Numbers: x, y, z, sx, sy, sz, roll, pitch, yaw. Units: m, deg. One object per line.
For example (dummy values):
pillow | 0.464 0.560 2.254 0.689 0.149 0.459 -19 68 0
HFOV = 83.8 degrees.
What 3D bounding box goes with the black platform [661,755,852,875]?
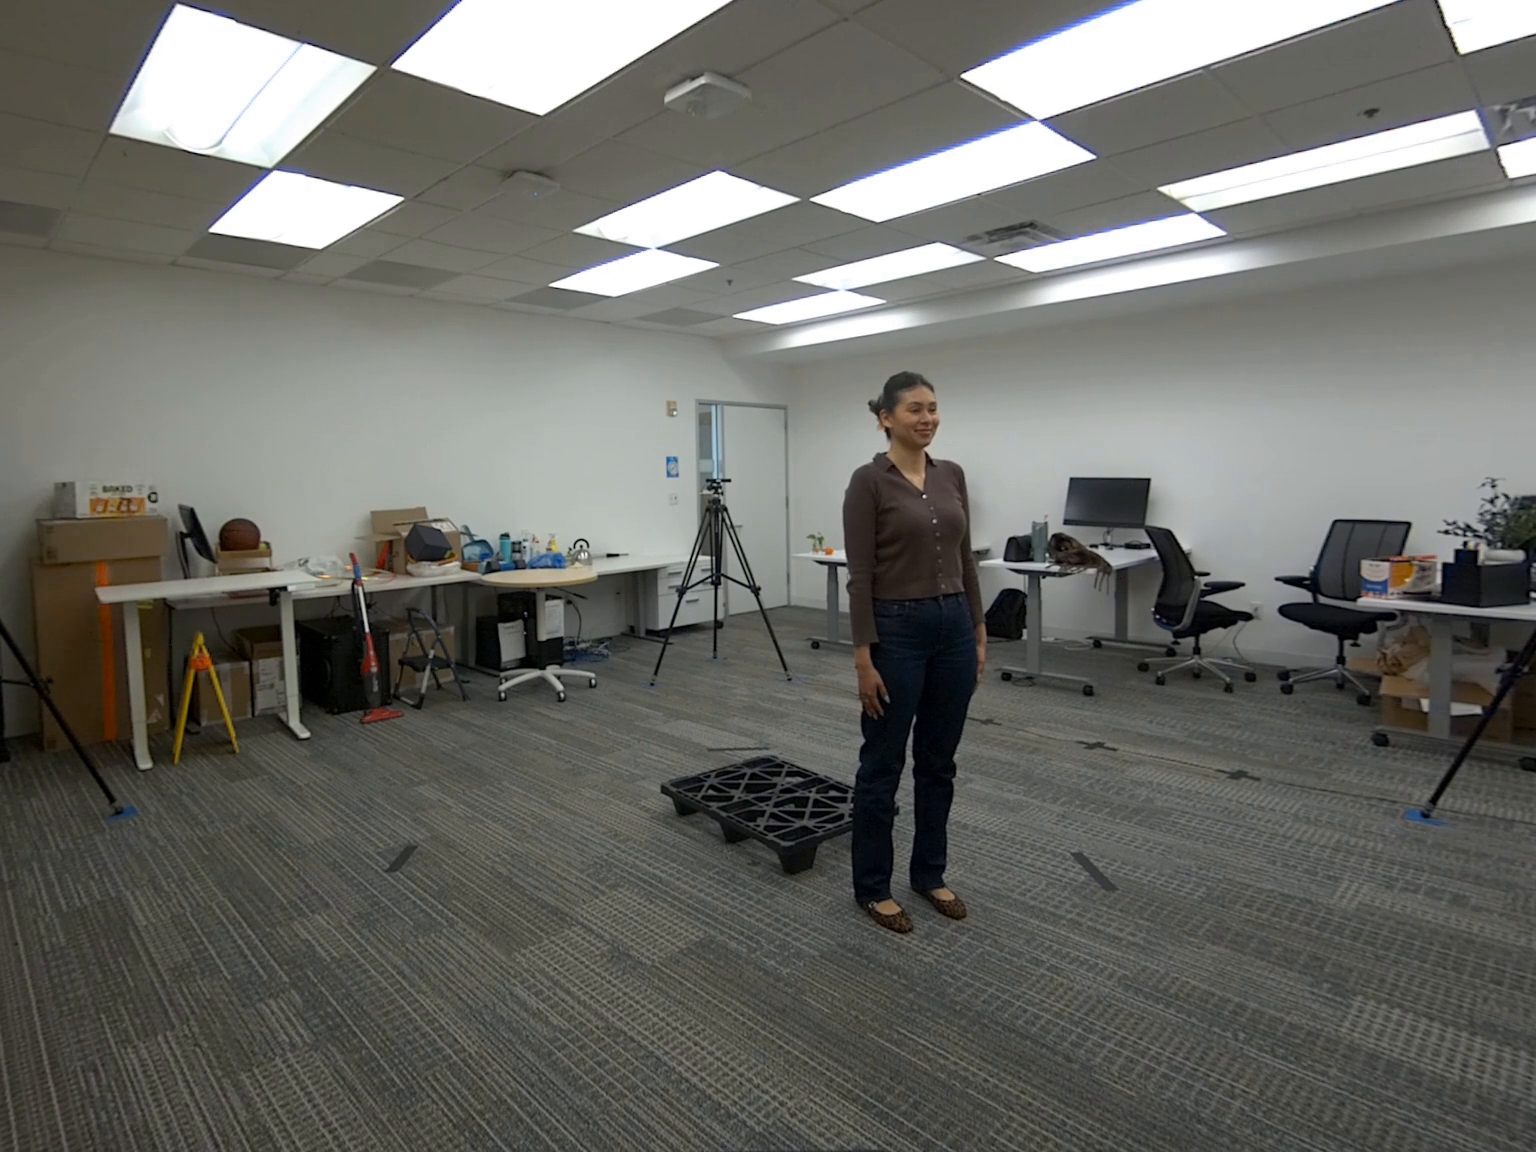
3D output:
black platform | 0.031 0.941 3.427 0.590 0.142 0.830 -7 8 -38
